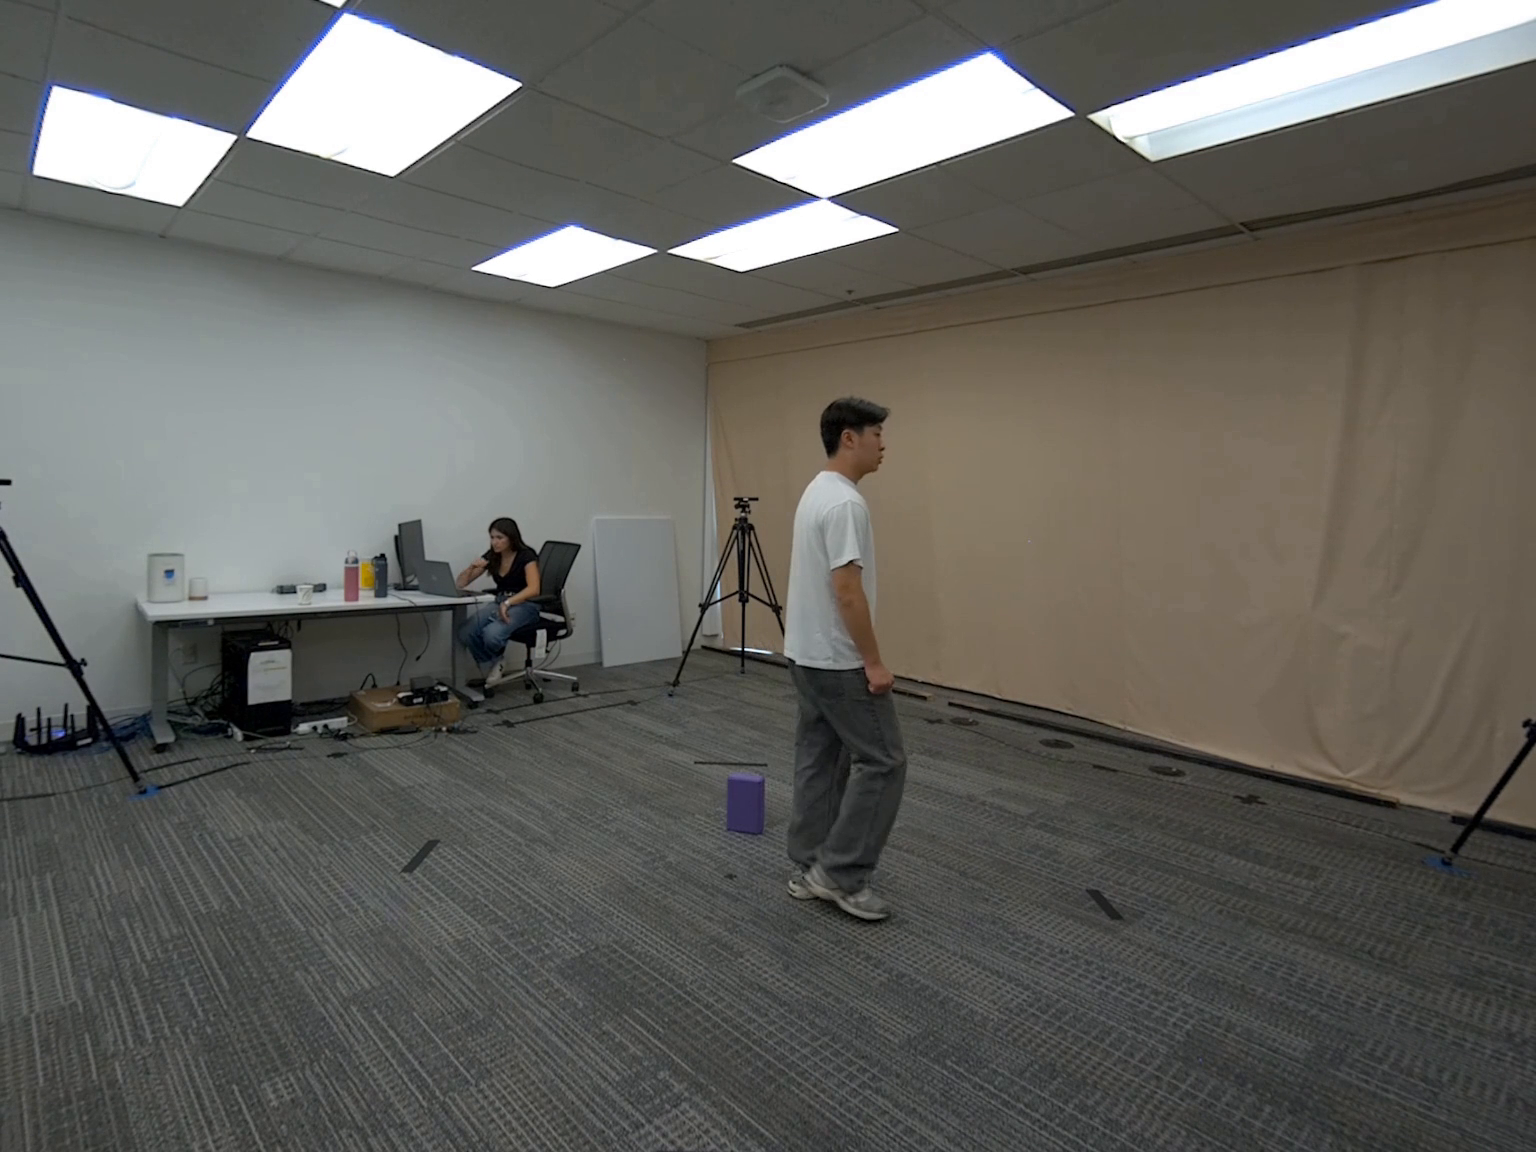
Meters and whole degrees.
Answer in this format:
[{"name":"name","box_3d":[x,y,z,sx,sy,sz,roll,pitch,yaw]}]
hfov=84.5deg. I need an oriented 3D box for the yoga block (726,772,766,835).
[{"name":"yoga block","box_3d":[-0.105,0.958,3.539,0.151,0.229,0.075,3,3,18]}]
